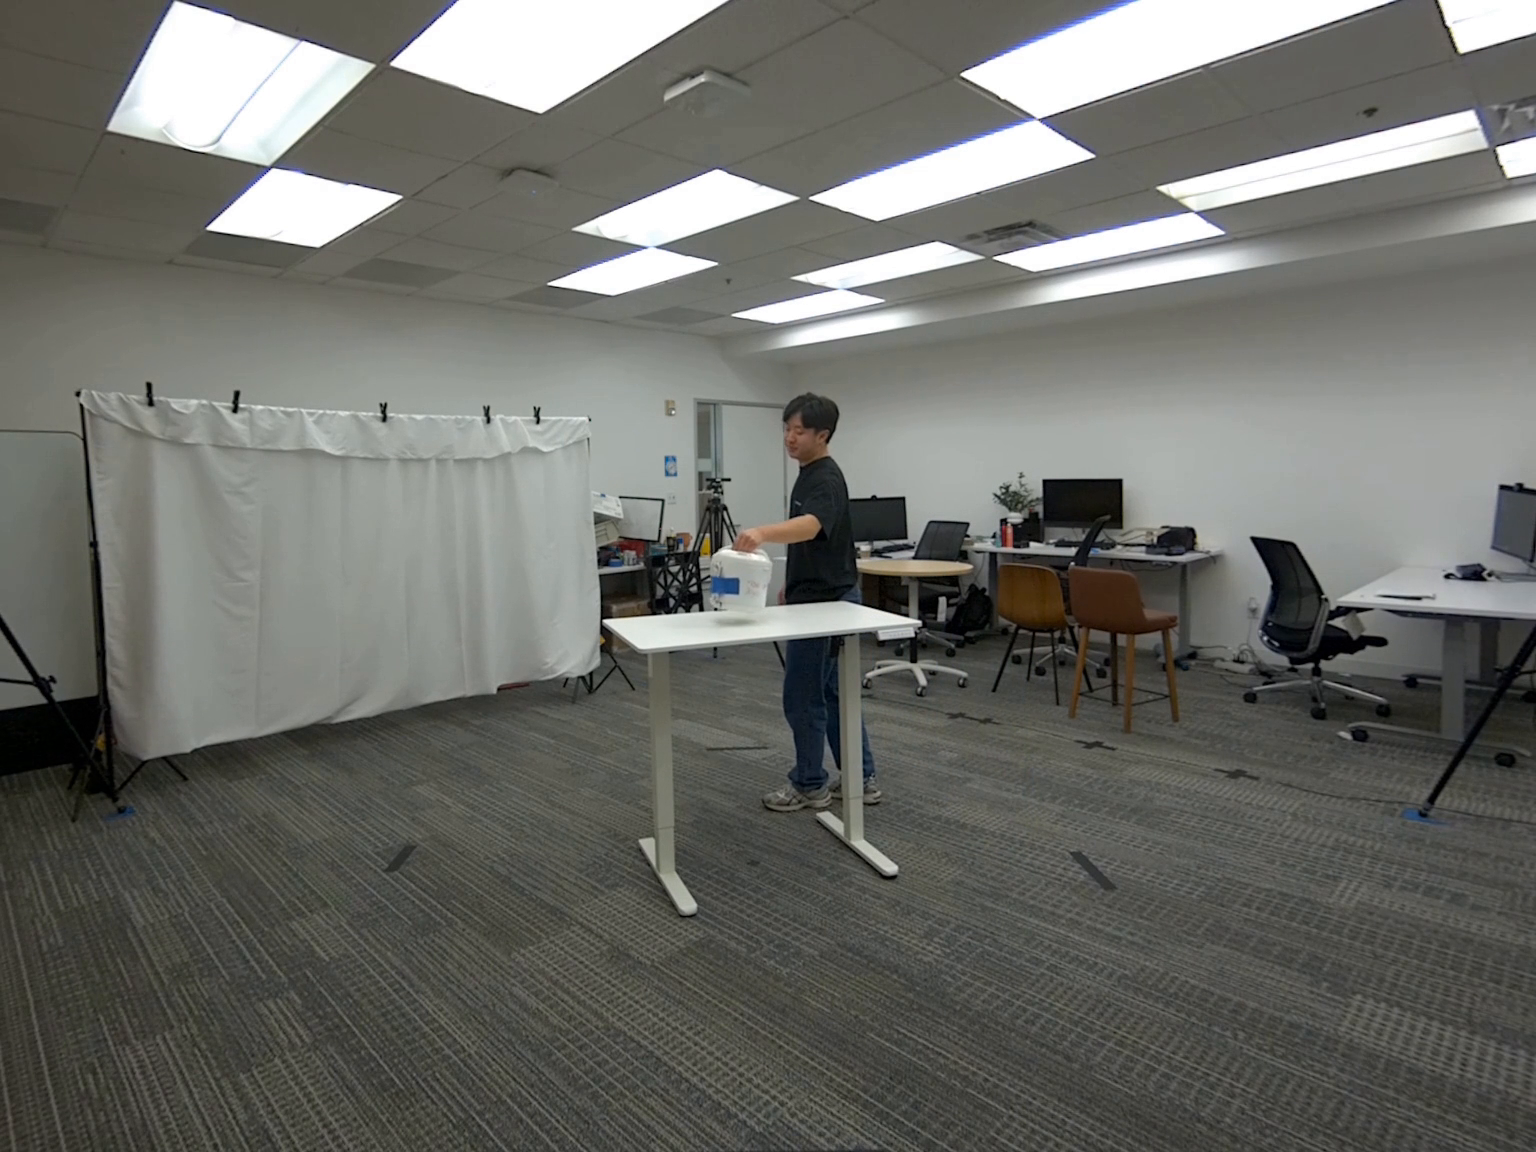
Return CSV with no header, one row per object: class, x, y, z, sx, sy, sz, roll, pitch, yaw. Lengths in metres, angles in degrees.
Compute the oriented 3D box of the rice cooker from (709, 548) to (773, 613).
rice cooker,-0.101,0.003,3.055,0.220,0.232,0.218,9,2,-3
